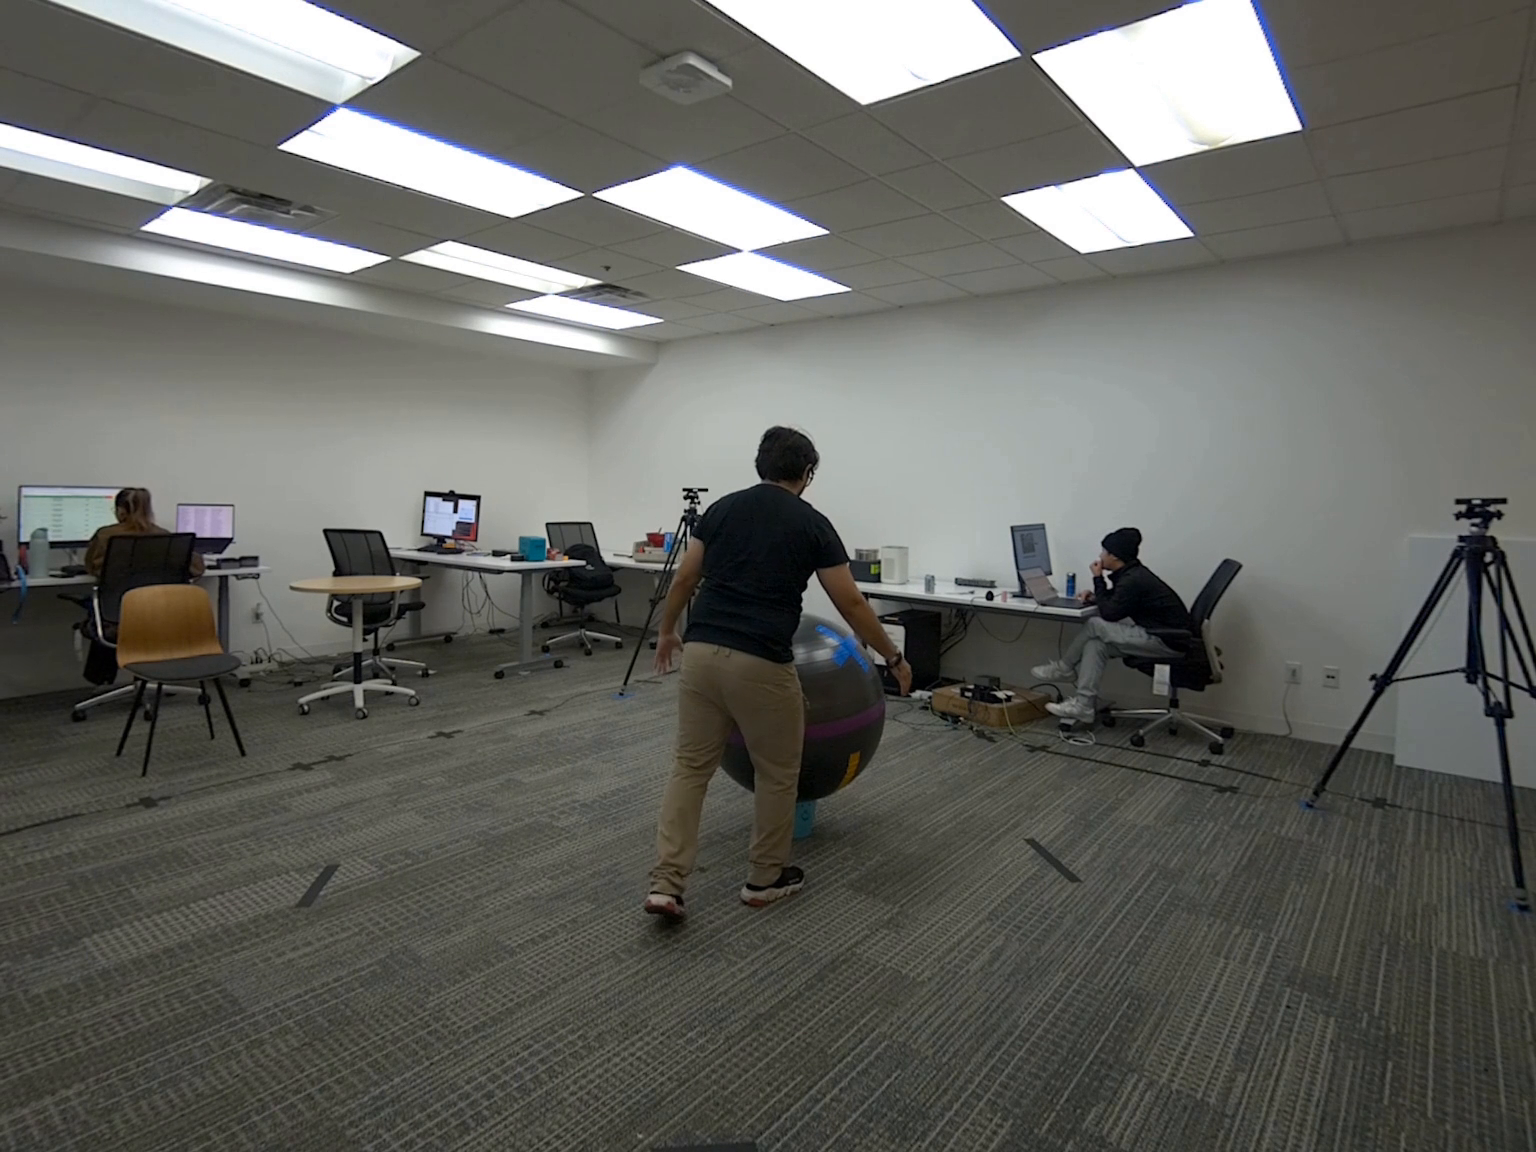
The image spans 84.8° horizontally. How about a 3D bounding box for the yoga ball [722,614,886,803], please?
[{"bbox_3d":[0.090,0.525,3.481,0.757,0.755,0.762,1,4,-2],"label":"yoga ball"}]
